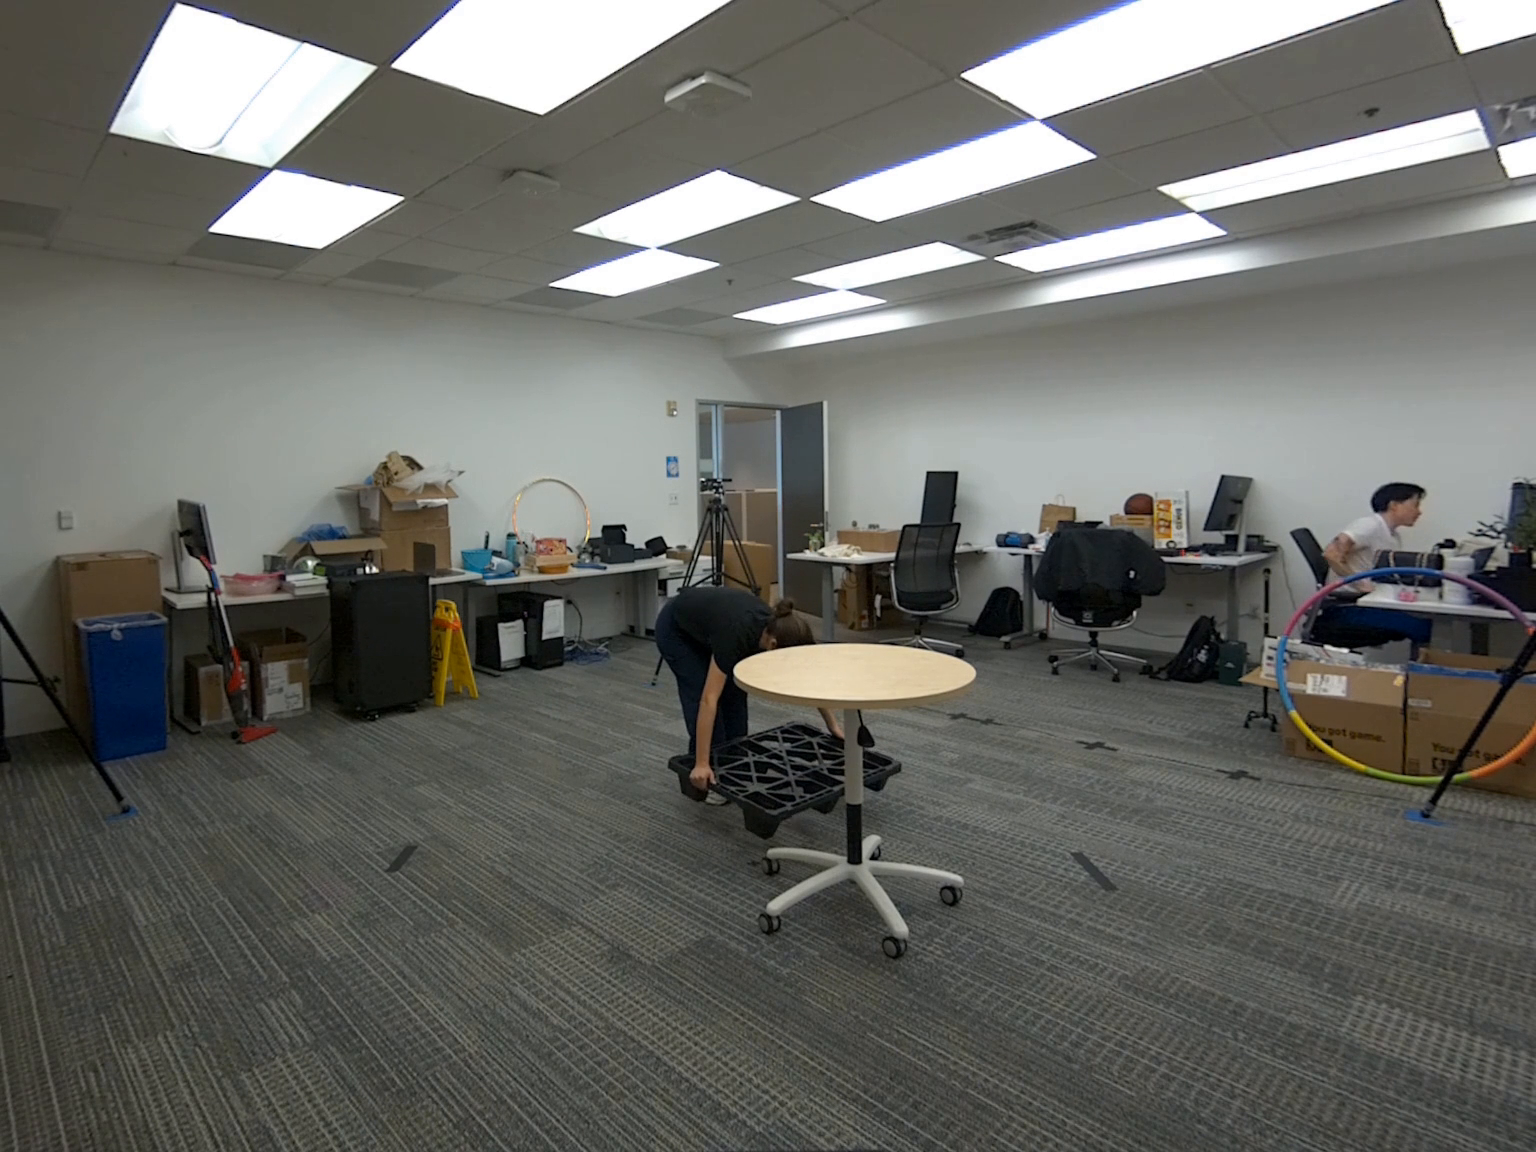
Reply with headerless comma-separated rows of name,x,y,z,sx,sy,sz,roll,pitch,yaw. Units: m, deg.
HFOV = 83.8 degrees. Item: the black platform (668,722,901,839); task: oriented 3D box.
black platform,0.066,0.828,3.540,0.626,0.142,0.784,13,13,43
